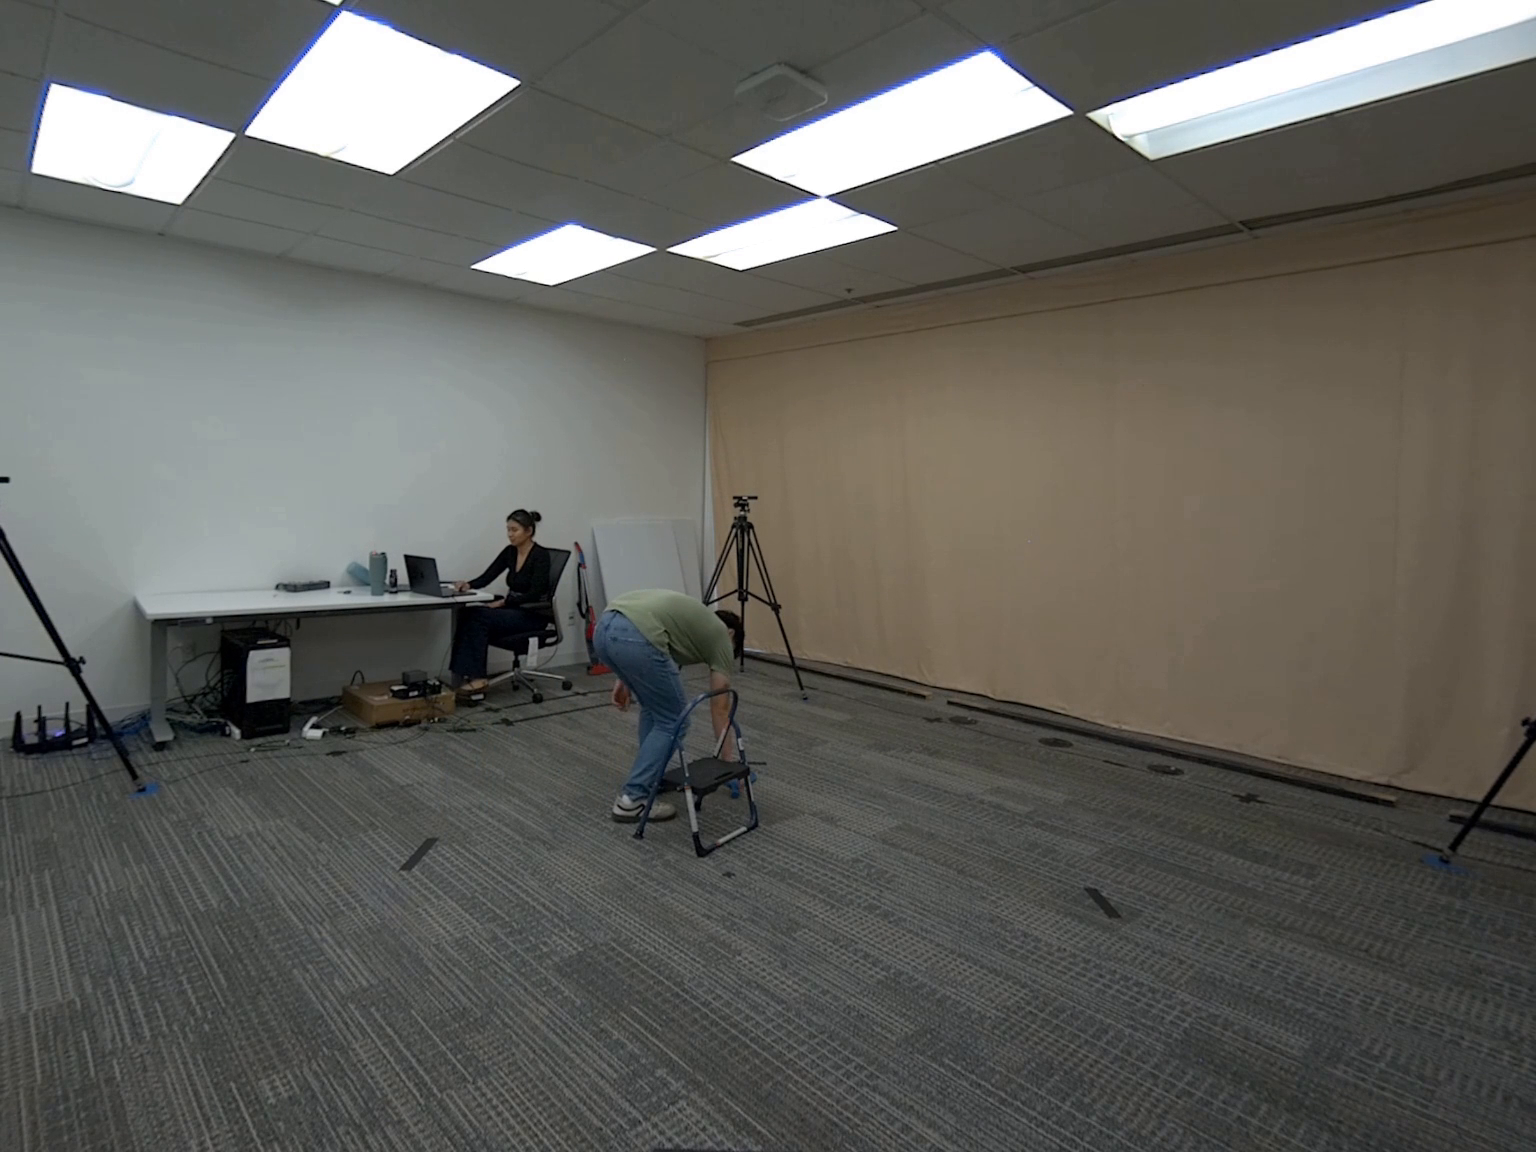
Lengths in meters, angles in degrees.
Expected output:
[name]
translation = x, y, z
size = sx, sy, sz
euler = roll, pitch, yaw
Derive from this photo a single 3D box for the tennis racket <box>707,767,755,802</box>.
[tennis racket]
translation = -0.176, 1.007, 4.122
size = 0.214, 0.032, 0.433
euler = 1, 3, 0
